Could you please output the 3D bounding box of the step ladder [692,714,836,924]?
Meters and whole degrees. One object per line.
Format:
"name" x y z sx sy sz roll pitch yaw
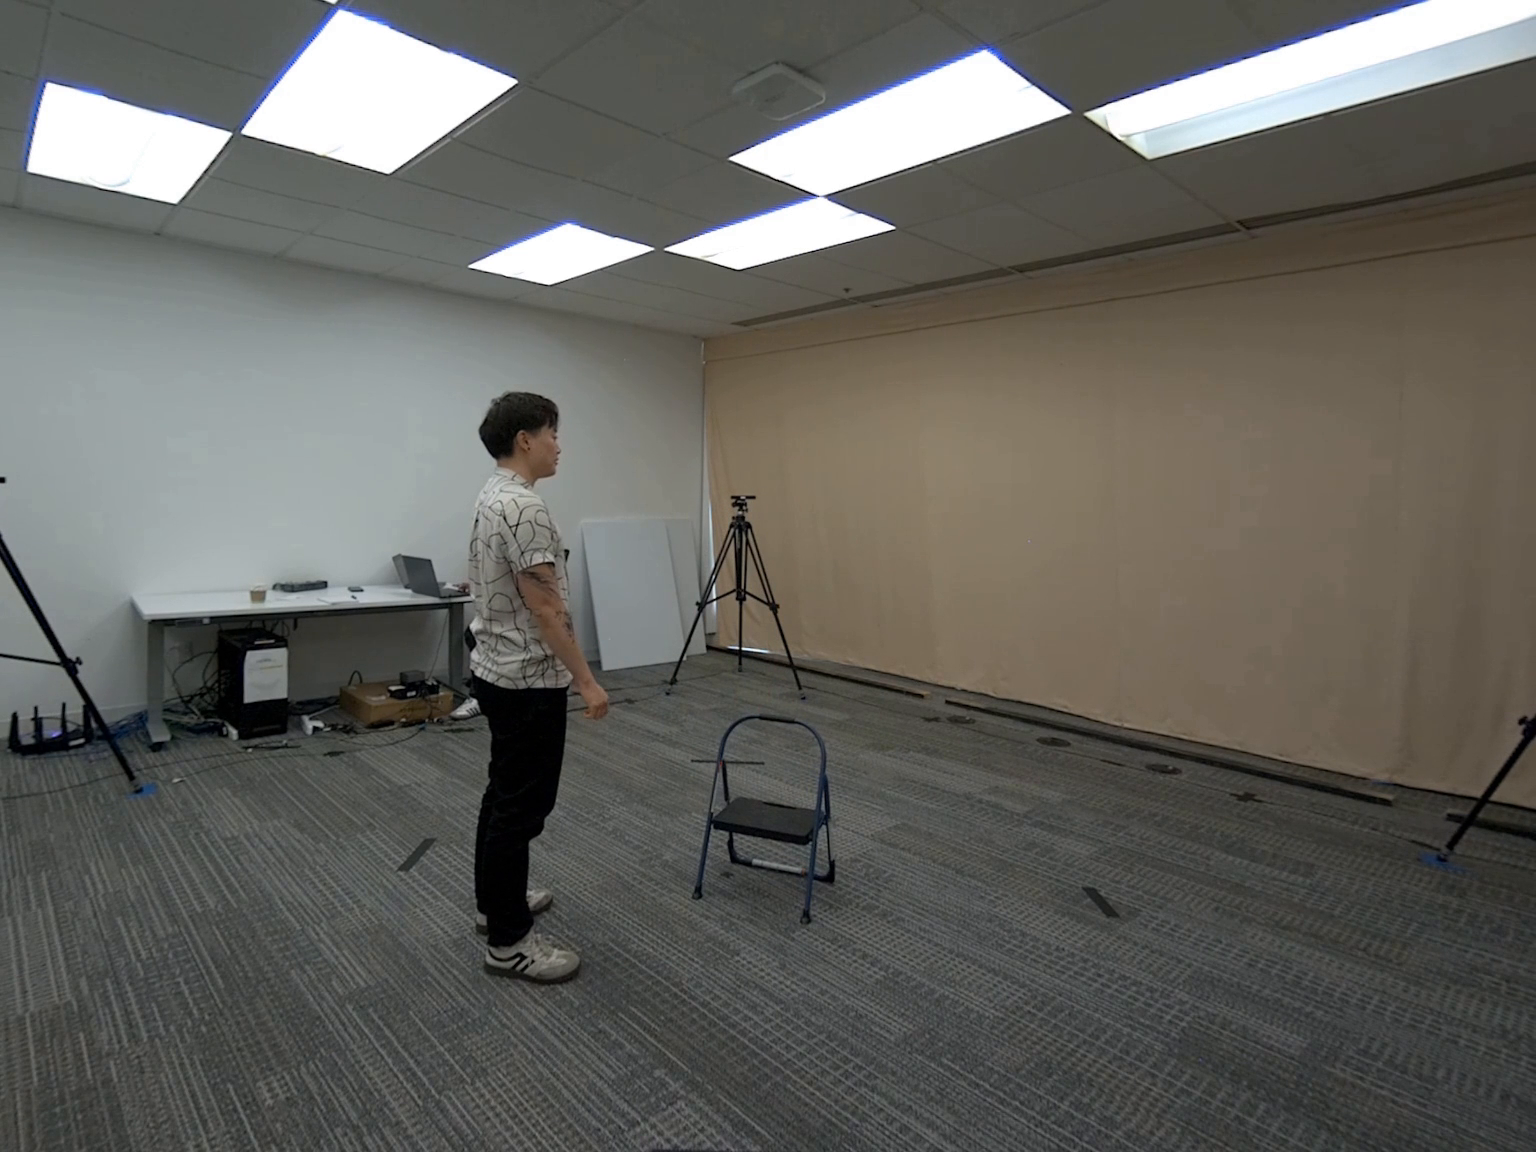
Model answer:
"step ladder" -0.003 0.814 2.973 0.438 0.604 0.344 3 4 22
